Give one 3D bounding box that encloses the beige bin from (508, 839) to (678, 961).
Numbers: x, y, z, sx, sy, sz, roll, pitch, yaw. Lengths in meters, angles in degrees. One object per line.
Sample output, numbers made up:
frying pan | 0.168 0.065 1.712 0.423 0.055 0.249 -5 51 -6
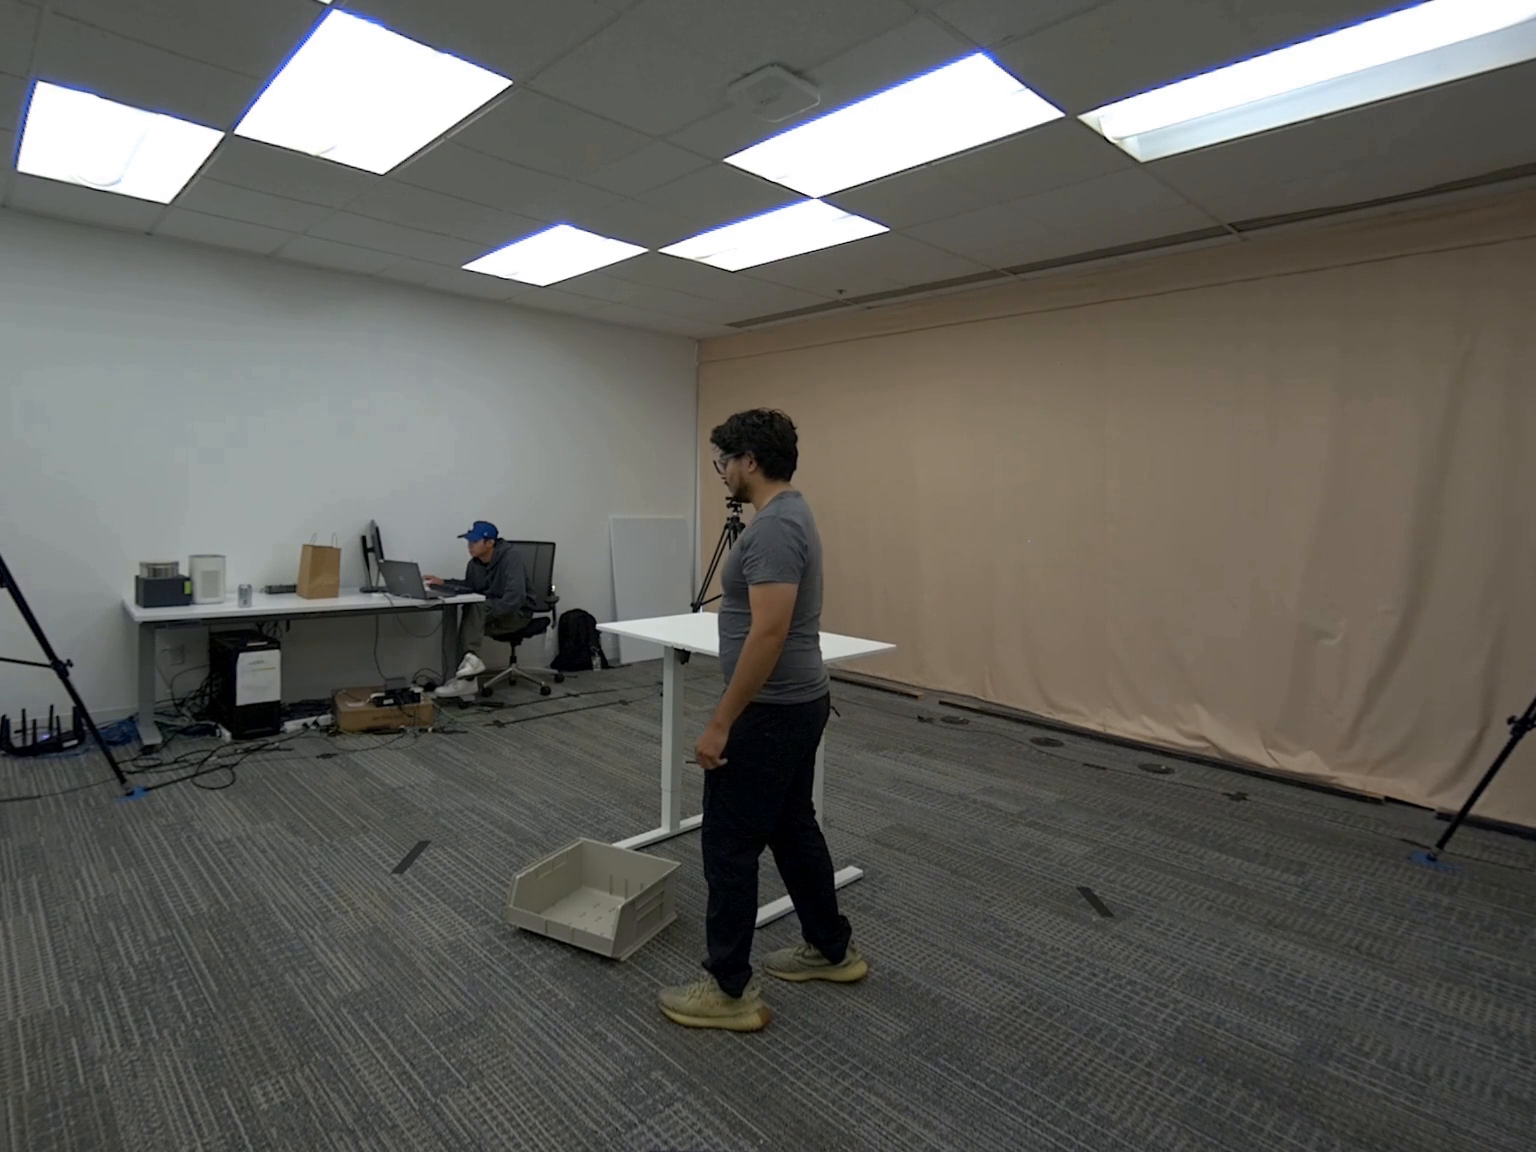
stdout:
beige bin | -0.561 1.046 2.722 0.431 0.188 0.371 3 5 26
